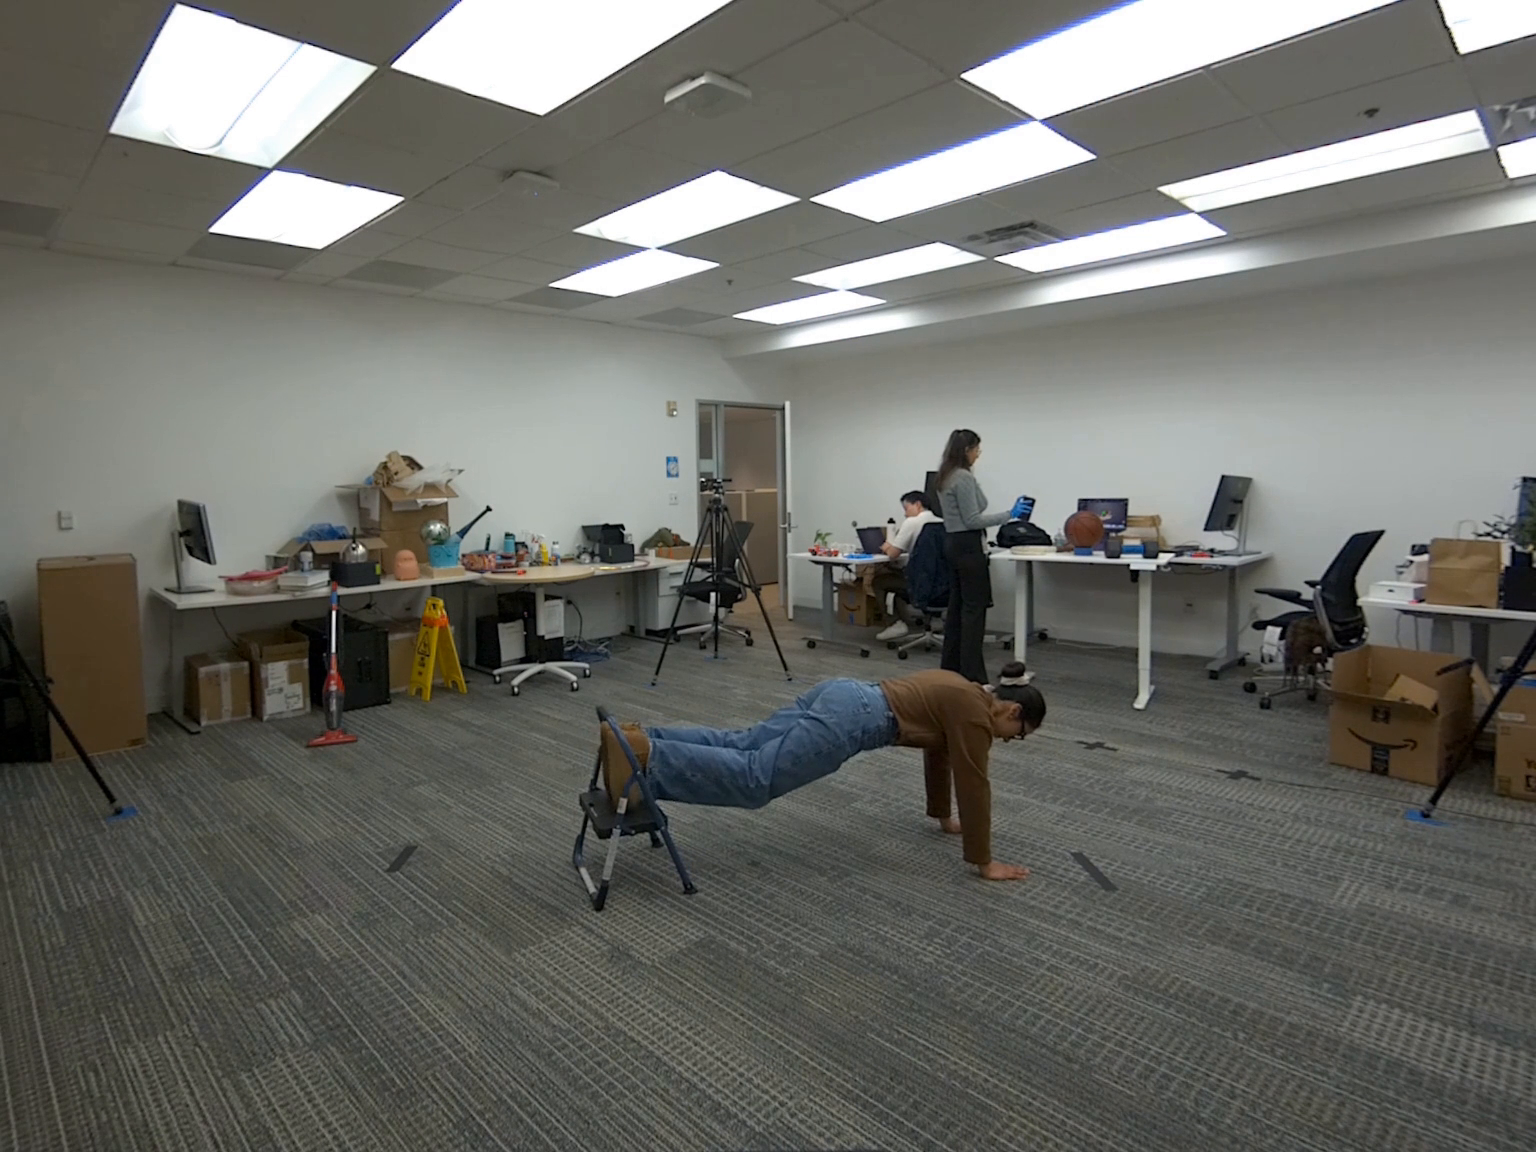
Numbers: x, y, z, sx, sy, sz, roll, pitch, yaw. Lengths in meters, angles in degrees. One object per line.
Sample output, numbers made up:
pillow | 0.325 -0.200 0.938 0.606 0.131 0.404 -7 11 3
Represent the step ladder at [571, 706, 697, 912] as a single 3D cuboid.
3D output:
step ladder | -0.486 0.763 3.006 0.342 0.604 0.441 -3 5 -24
